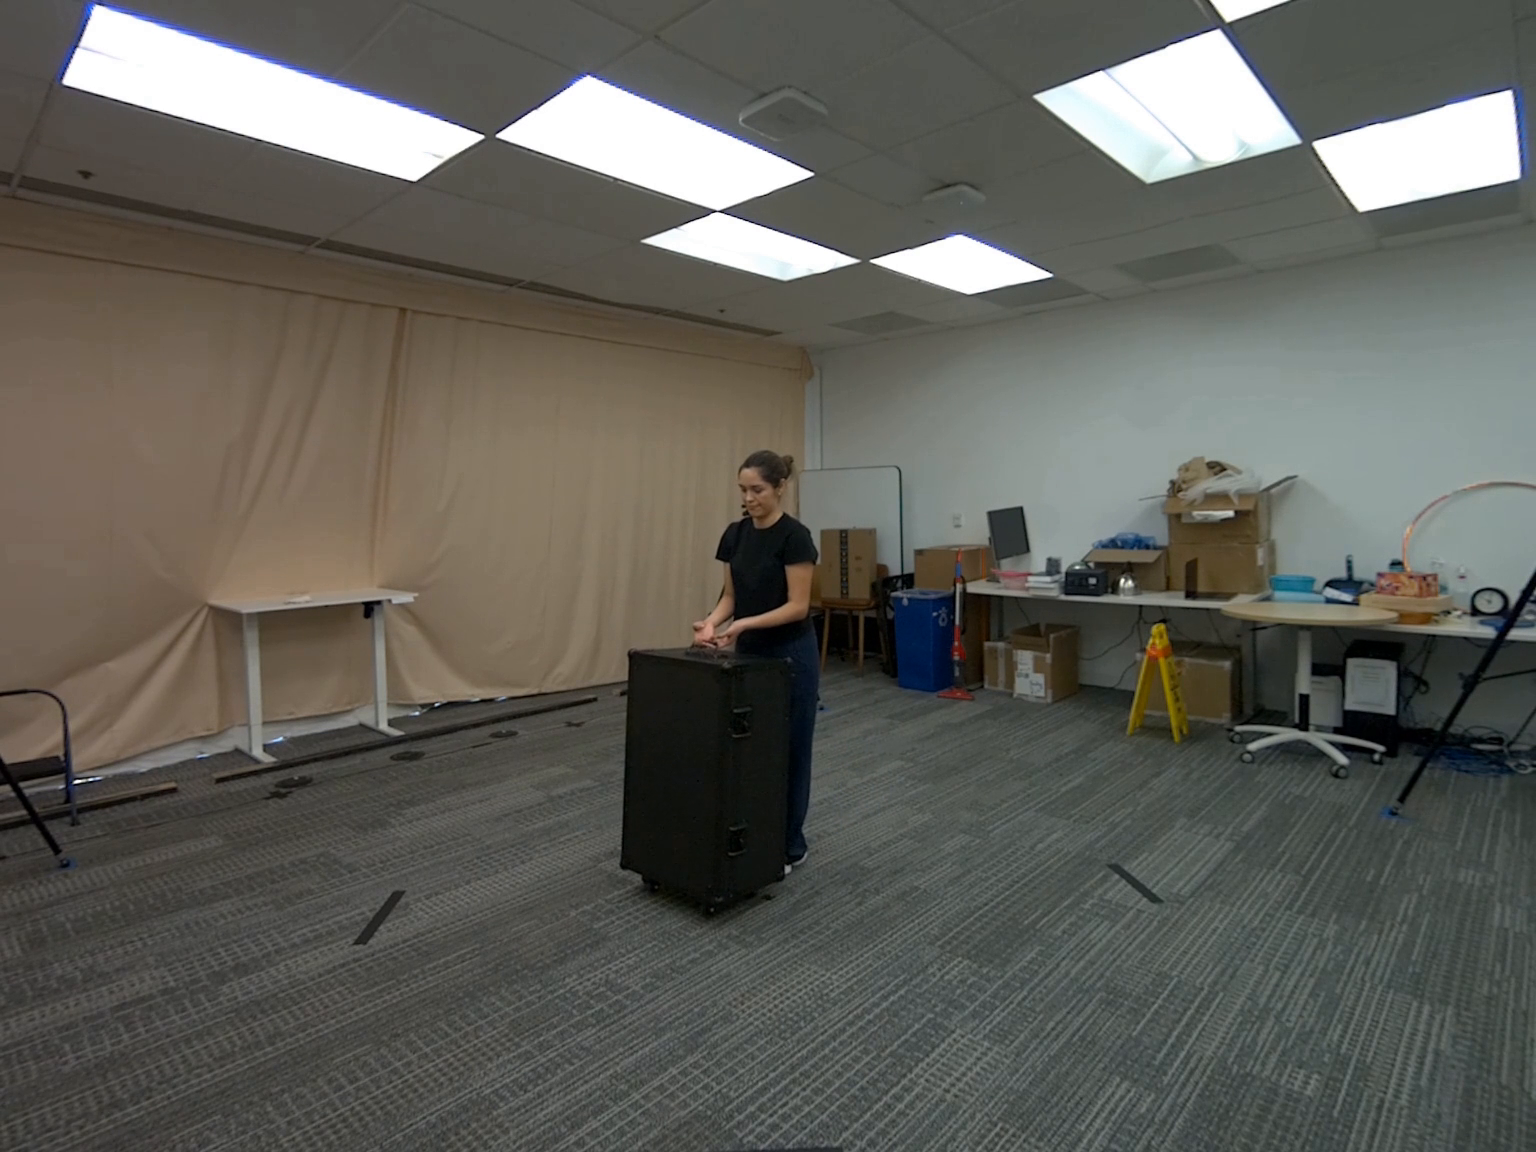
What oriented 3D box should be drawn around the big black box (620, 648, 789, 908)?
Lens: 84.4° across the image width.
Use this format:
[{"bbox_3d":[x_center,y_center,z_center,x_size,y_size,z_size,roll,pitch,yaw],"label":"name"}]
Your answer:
[{"bbox_3d":[-0.208,0.707,3.027,0.538,0.862,0.383,1,-1,40],"label":"big black box"}]
